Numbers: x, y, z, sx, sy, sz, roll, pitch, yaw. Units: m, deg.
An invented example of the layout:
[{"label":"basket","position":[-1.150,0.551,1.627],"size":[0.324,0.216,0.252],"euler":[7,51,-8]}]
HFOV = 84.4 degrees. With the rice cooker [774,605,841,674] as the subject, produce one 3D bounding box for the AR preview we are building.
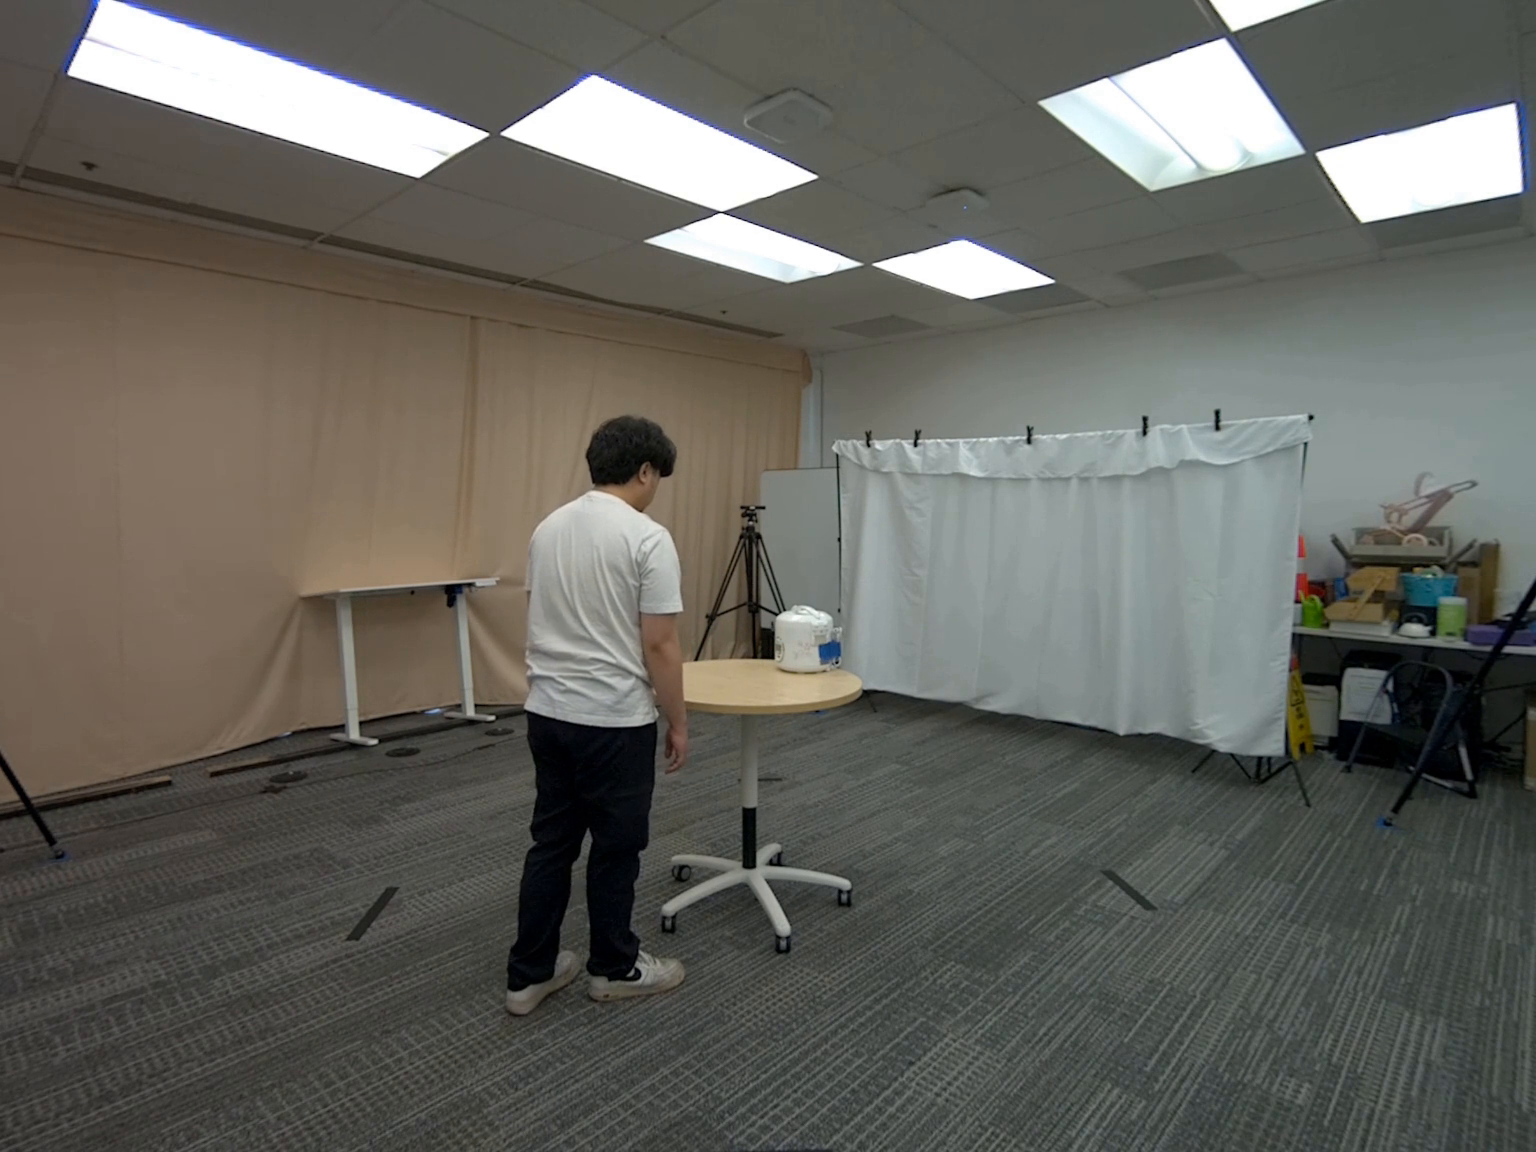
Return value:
[{"label":"rice cooker","position":[0.135,0.226,3.060],"size":[0.212,0.232,0.227],"euler":[1,3,-28]}]
